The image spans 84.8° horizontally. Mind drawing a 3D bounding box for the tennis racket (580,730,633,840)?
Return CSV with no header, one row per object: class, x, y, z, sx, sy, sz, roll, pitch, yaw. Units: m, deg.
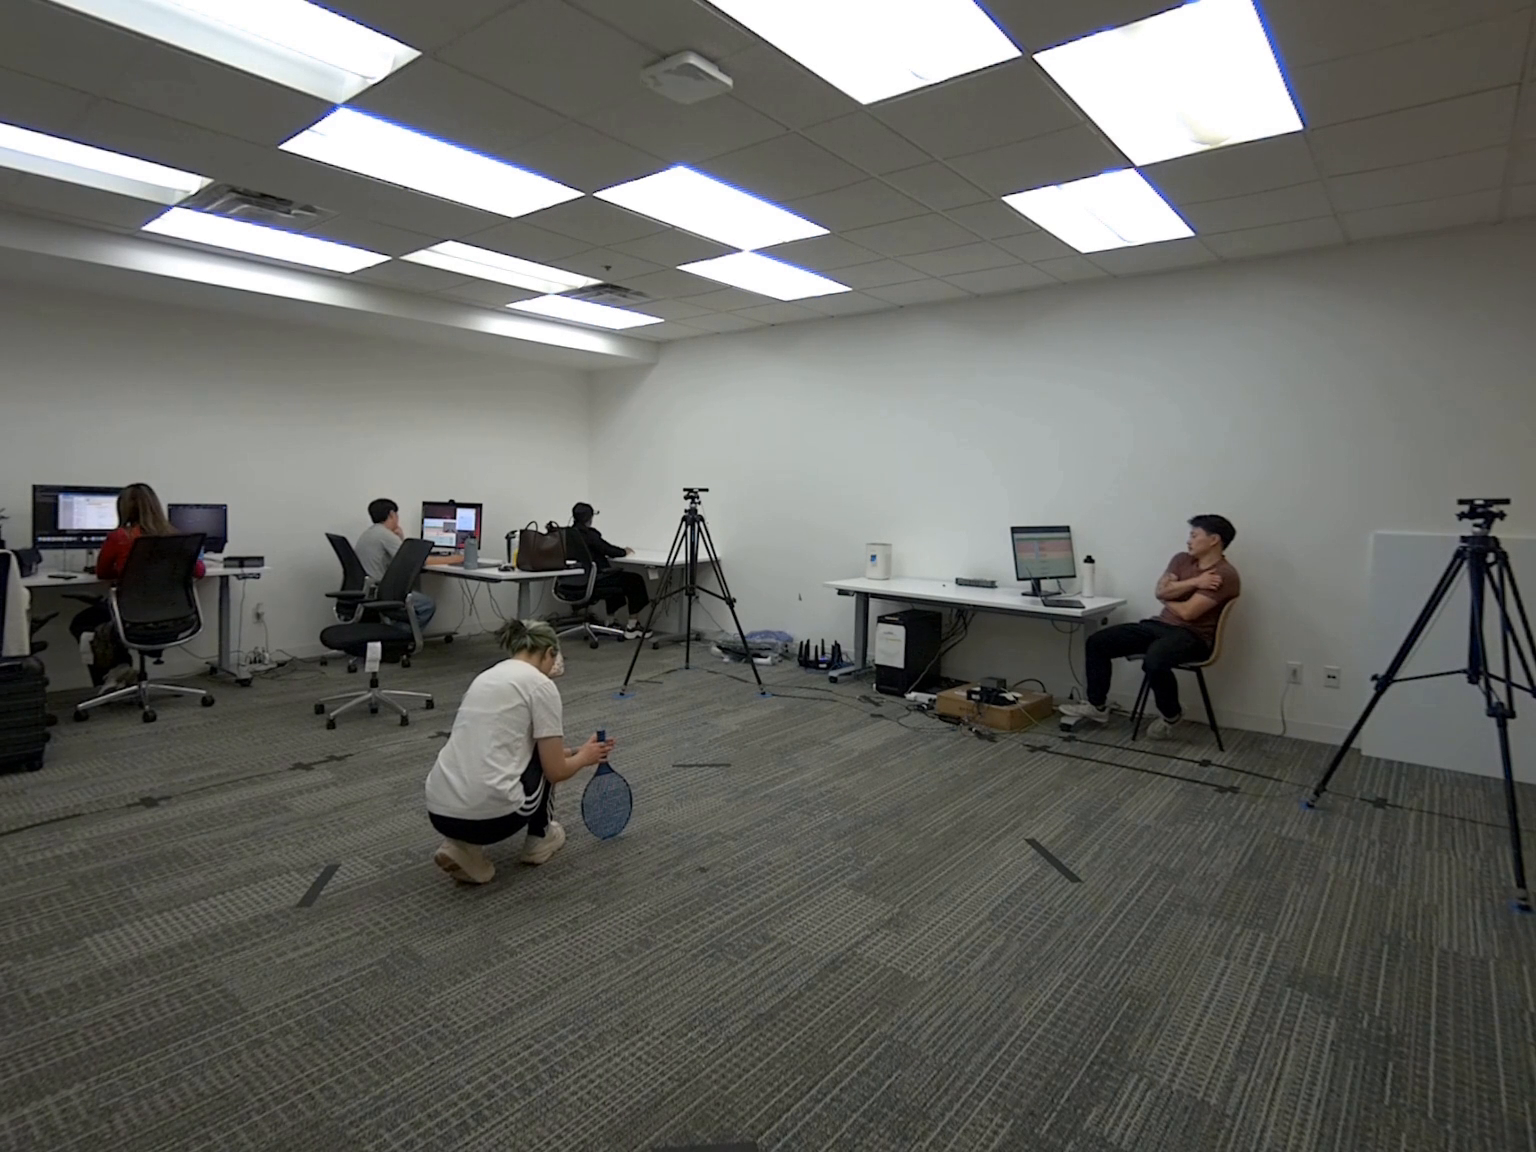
tennis racket,-0.644,0.822,3.374,0.208,0.432,0.032,-2,2,-27
